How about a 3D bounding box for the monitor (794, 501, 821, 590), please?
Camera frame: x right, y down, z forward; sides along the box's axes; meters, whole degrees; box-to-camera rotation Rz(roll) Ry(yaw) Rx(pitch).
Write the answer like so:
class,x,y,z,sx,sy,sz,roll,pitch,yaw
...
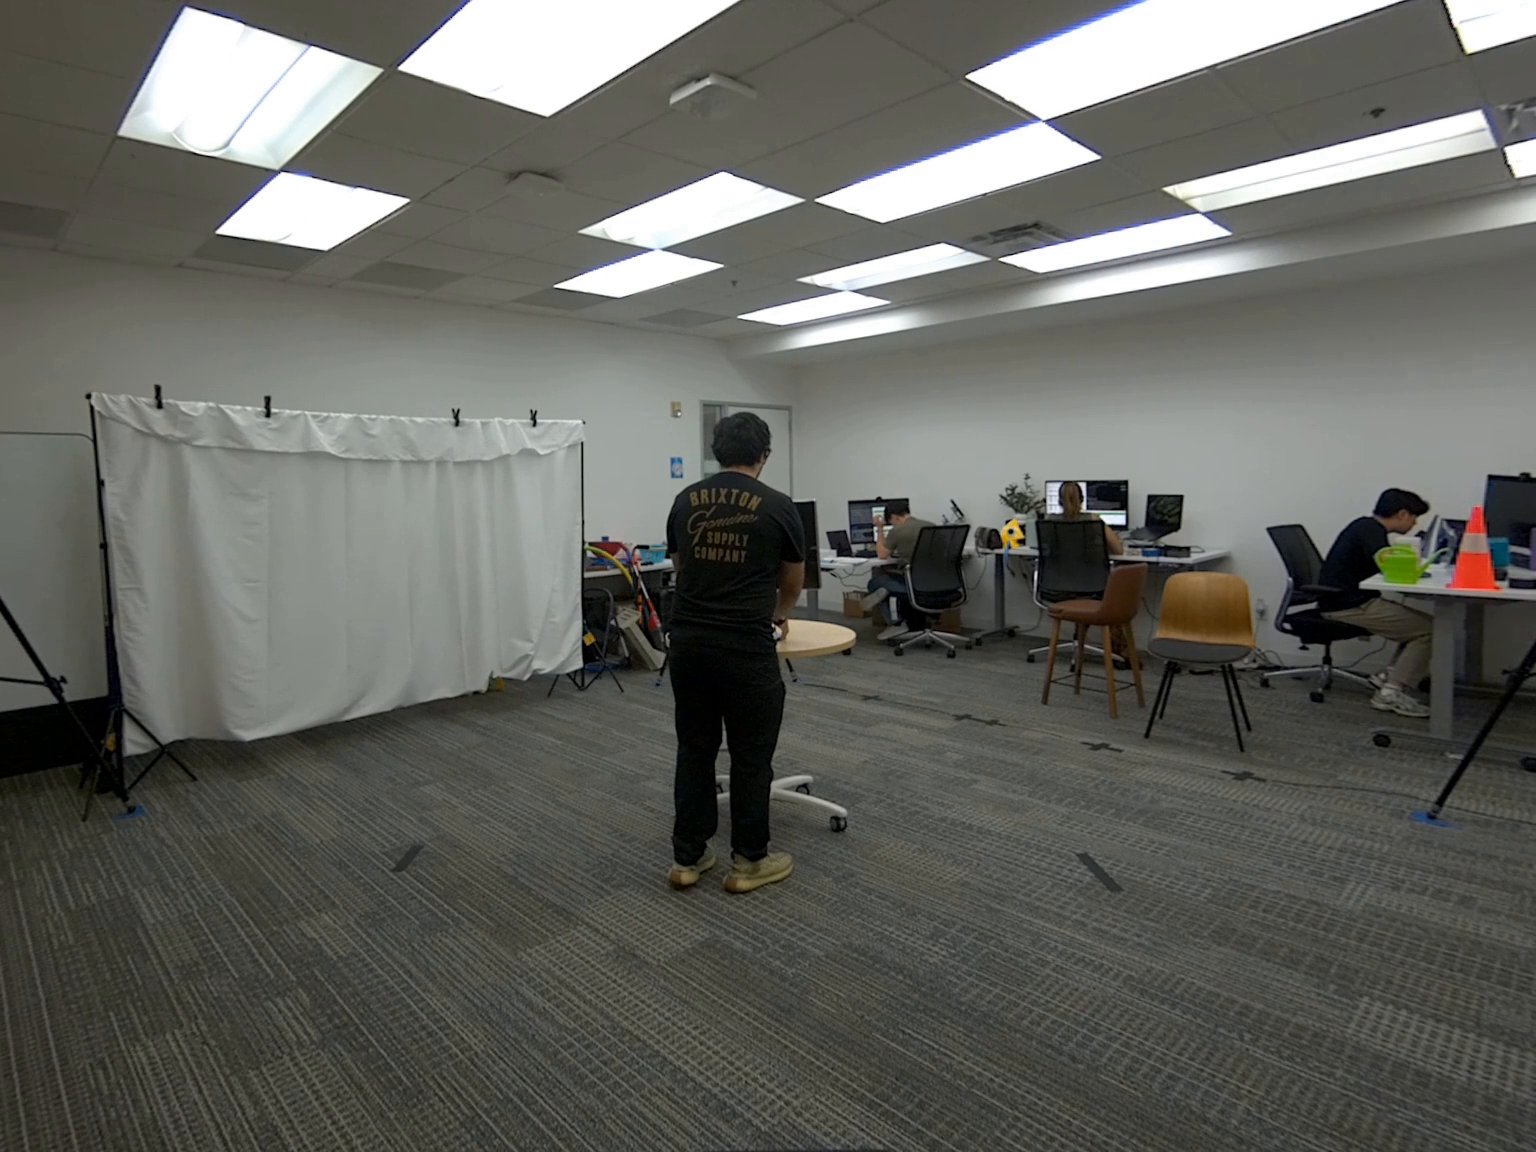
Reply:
class,x,y,z,sx,sy,sz,roll,pitch,yaw
monitor,-0.081,-0.014,3.311,0.575,0.549,0.208,1,10,17
